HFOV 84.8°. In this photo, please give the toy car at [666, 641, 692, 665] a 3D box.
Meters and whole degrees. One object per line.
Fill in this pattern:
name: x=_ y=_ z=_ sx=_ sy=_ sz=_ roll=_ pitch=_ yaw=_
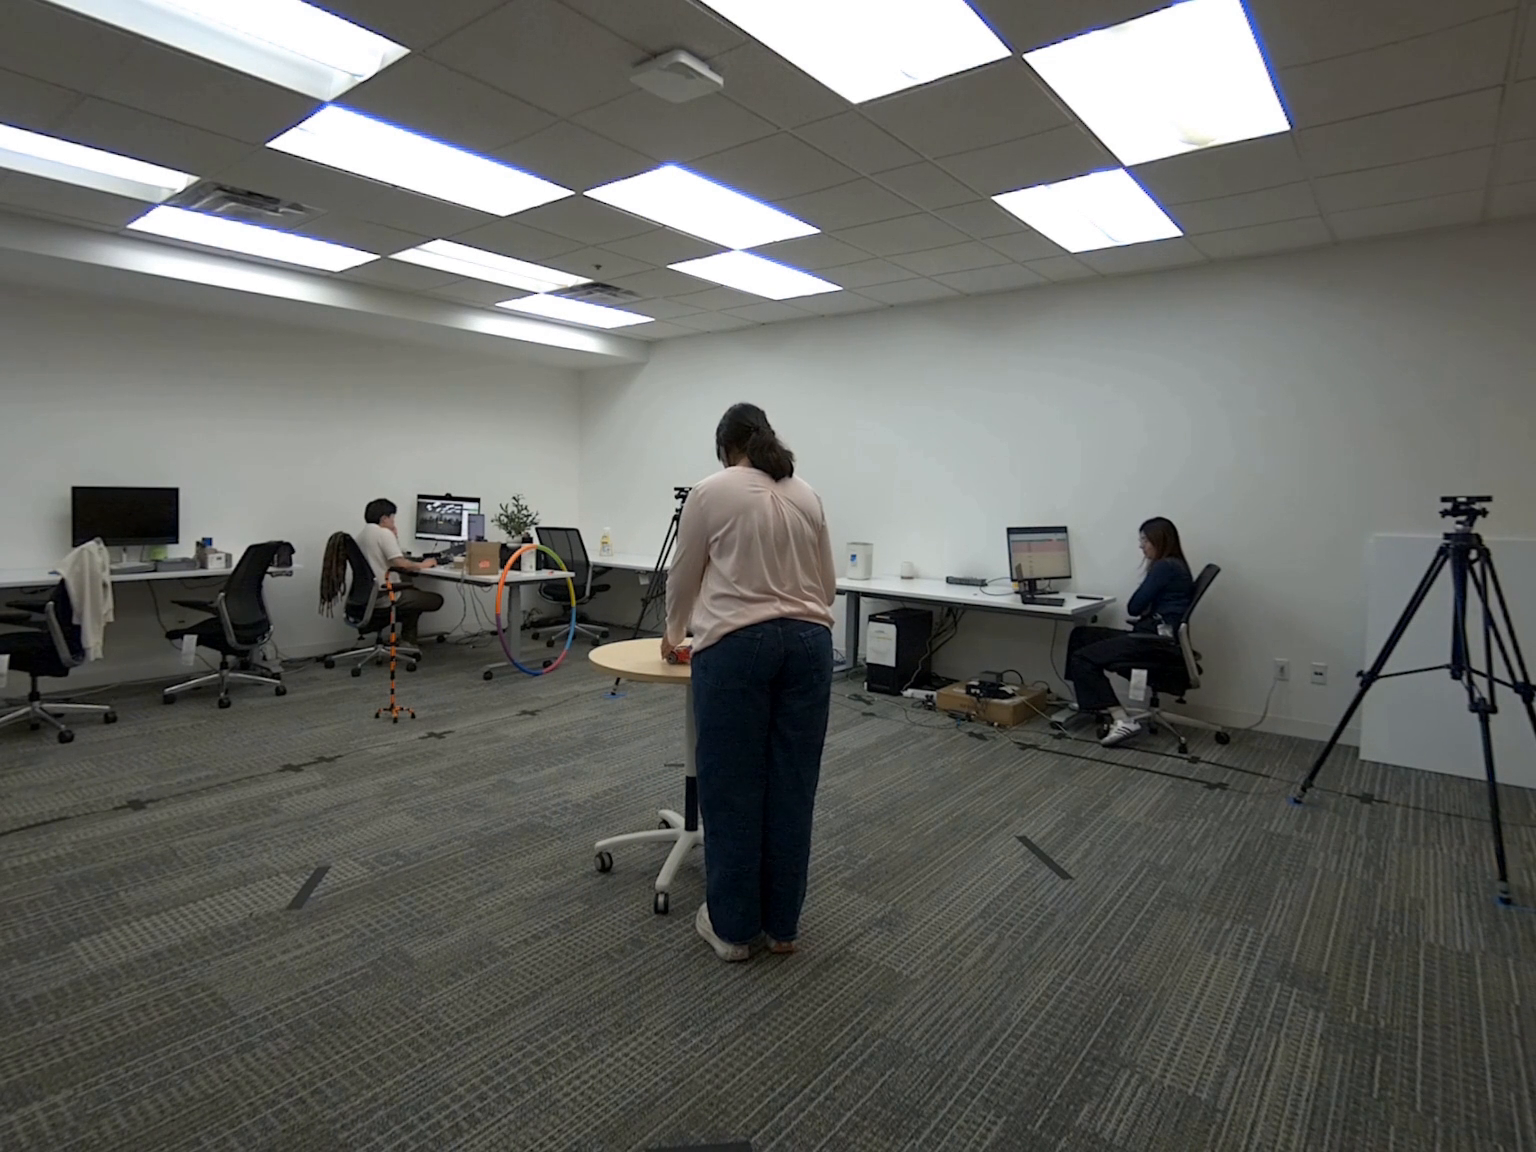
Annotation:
toy car: x=-0.230 y=0.266 z=2.914 sx=0.259 sy=0.083 sz=0.128 roll=-9 pitch=1 yaw=19
